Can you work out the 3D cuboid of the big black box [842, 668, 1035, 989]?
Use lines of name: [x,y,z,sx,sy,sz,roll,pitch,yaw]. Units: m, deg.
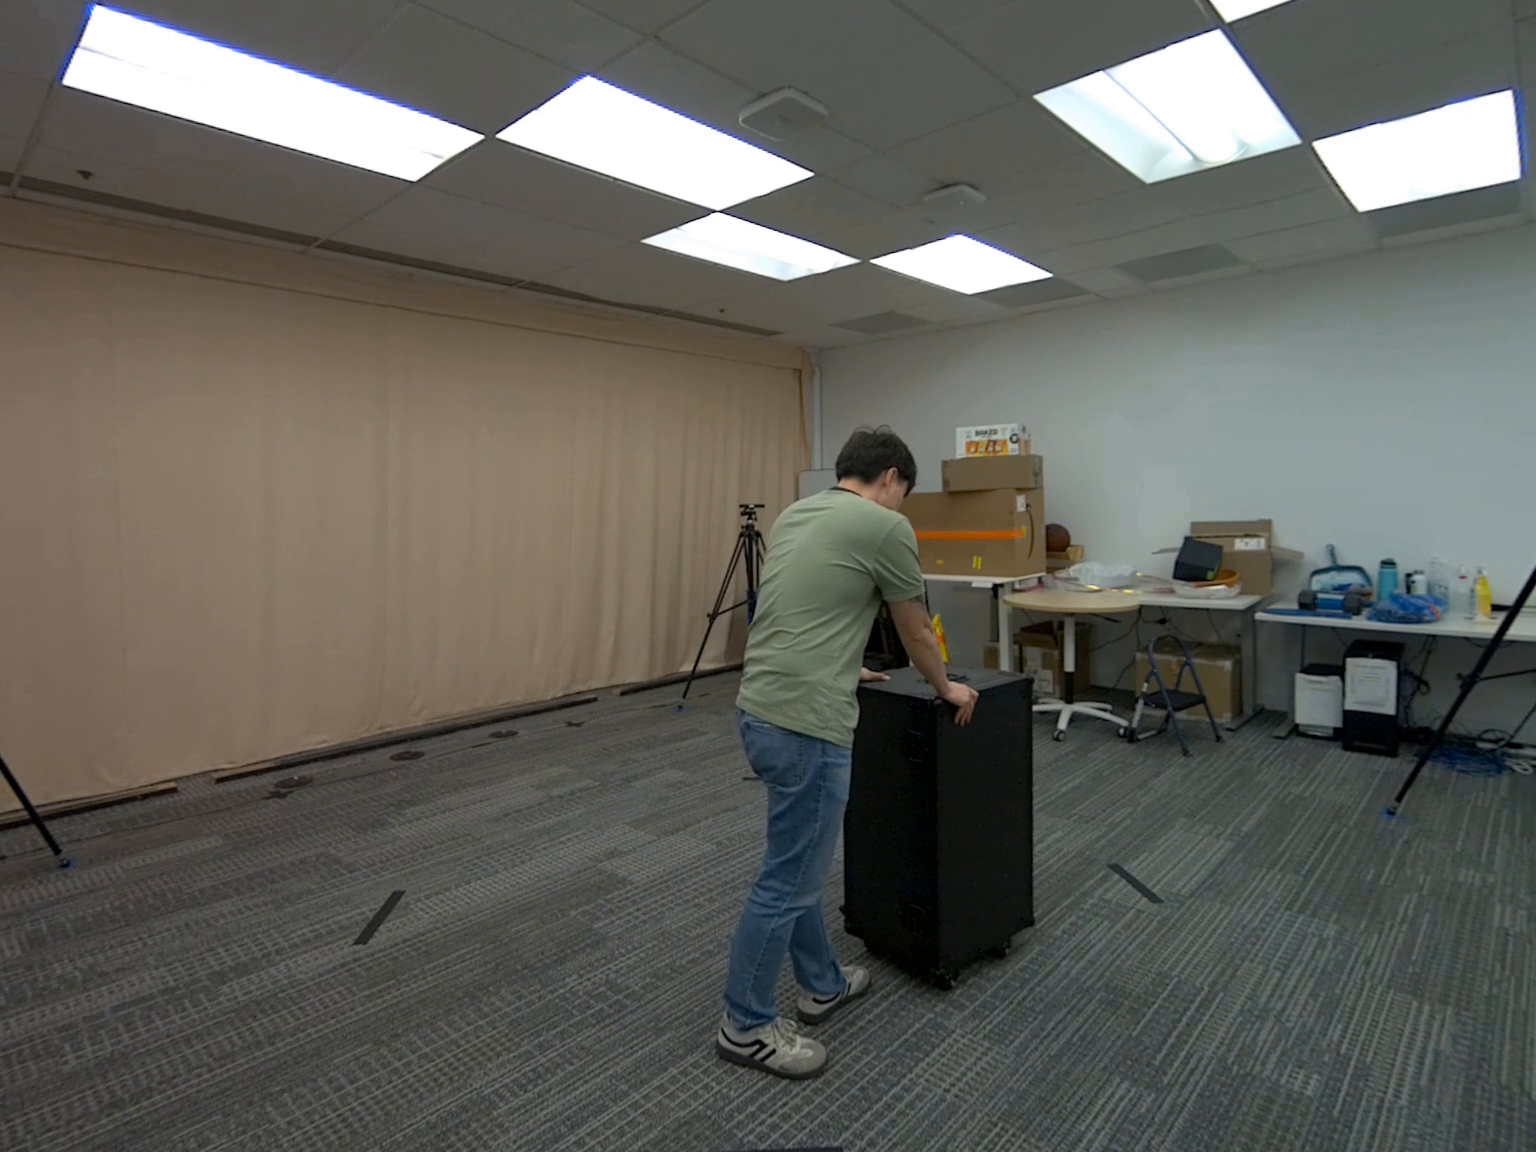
big black box: [0.523,0.741,2.596,0.506,0.860,0.409,-4,4,-40]
